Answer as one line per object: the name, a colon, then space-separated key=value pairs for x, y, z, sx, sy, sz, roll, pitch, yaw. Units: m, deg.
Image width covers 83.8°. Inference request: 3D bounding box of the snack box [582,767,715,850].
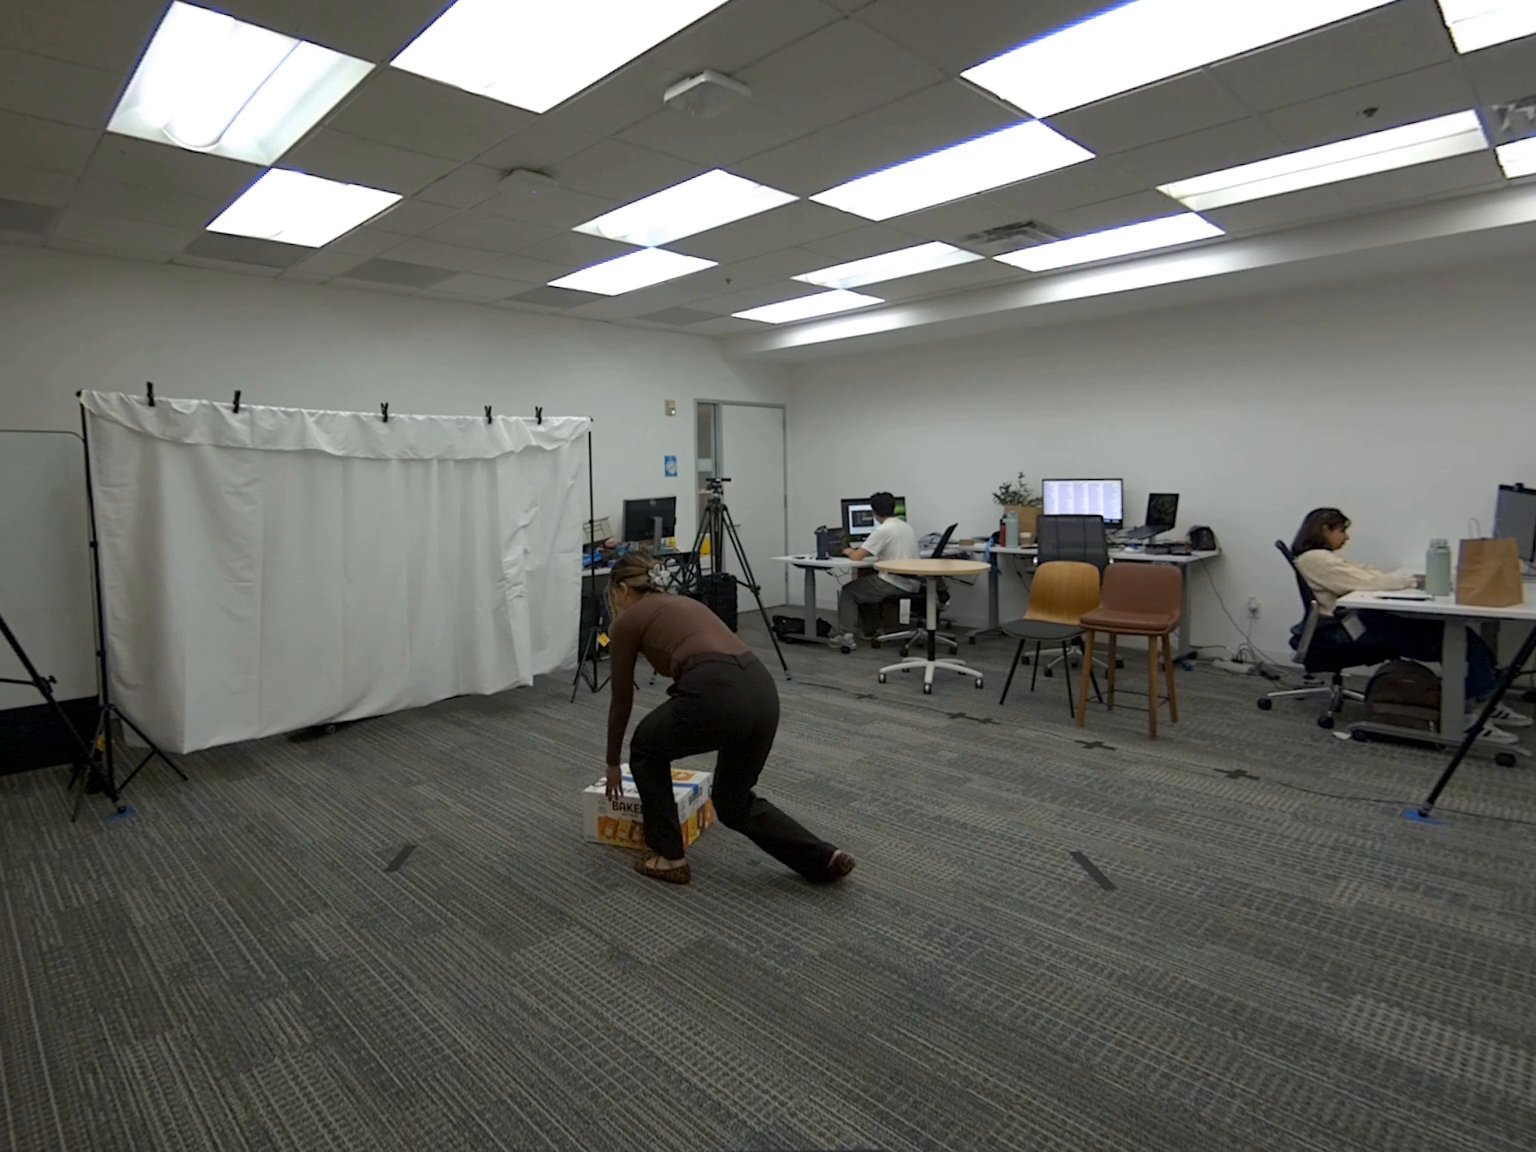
snack box: x=-0.470 y=0.914 z=3.391 sx=0.413 sy=0.205 sz=0.335 roll=1 pitch=6 yaw=20
